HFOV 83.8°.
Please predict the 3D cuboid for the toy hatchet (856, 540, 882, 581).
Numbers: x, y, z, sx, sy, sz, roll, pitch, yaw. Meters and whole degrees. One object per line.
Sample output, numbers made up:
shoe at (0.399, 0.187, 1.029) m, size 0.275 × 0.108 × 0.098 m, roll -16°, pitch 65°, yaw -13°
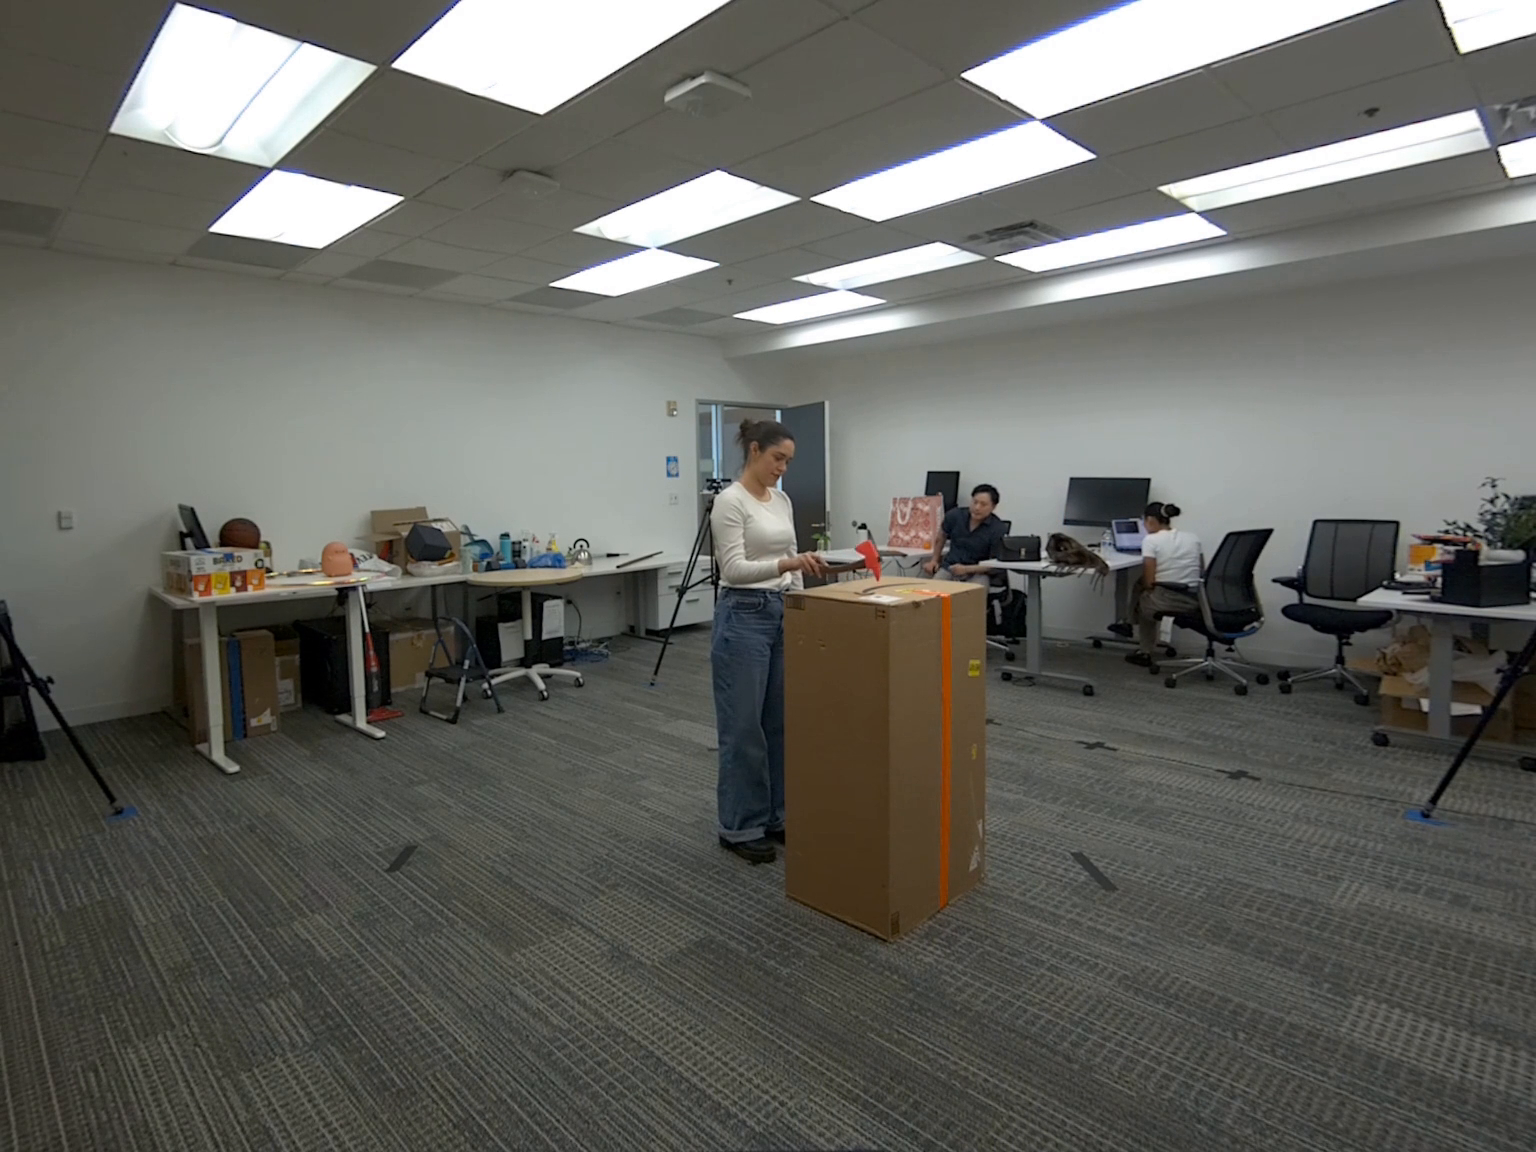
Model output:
toy hatchet at (0.255, -0.056, 2.800) m, size 0.277 × 0.130 × 0.029 m, roll 7°, pitch 11°, yaw 28°
